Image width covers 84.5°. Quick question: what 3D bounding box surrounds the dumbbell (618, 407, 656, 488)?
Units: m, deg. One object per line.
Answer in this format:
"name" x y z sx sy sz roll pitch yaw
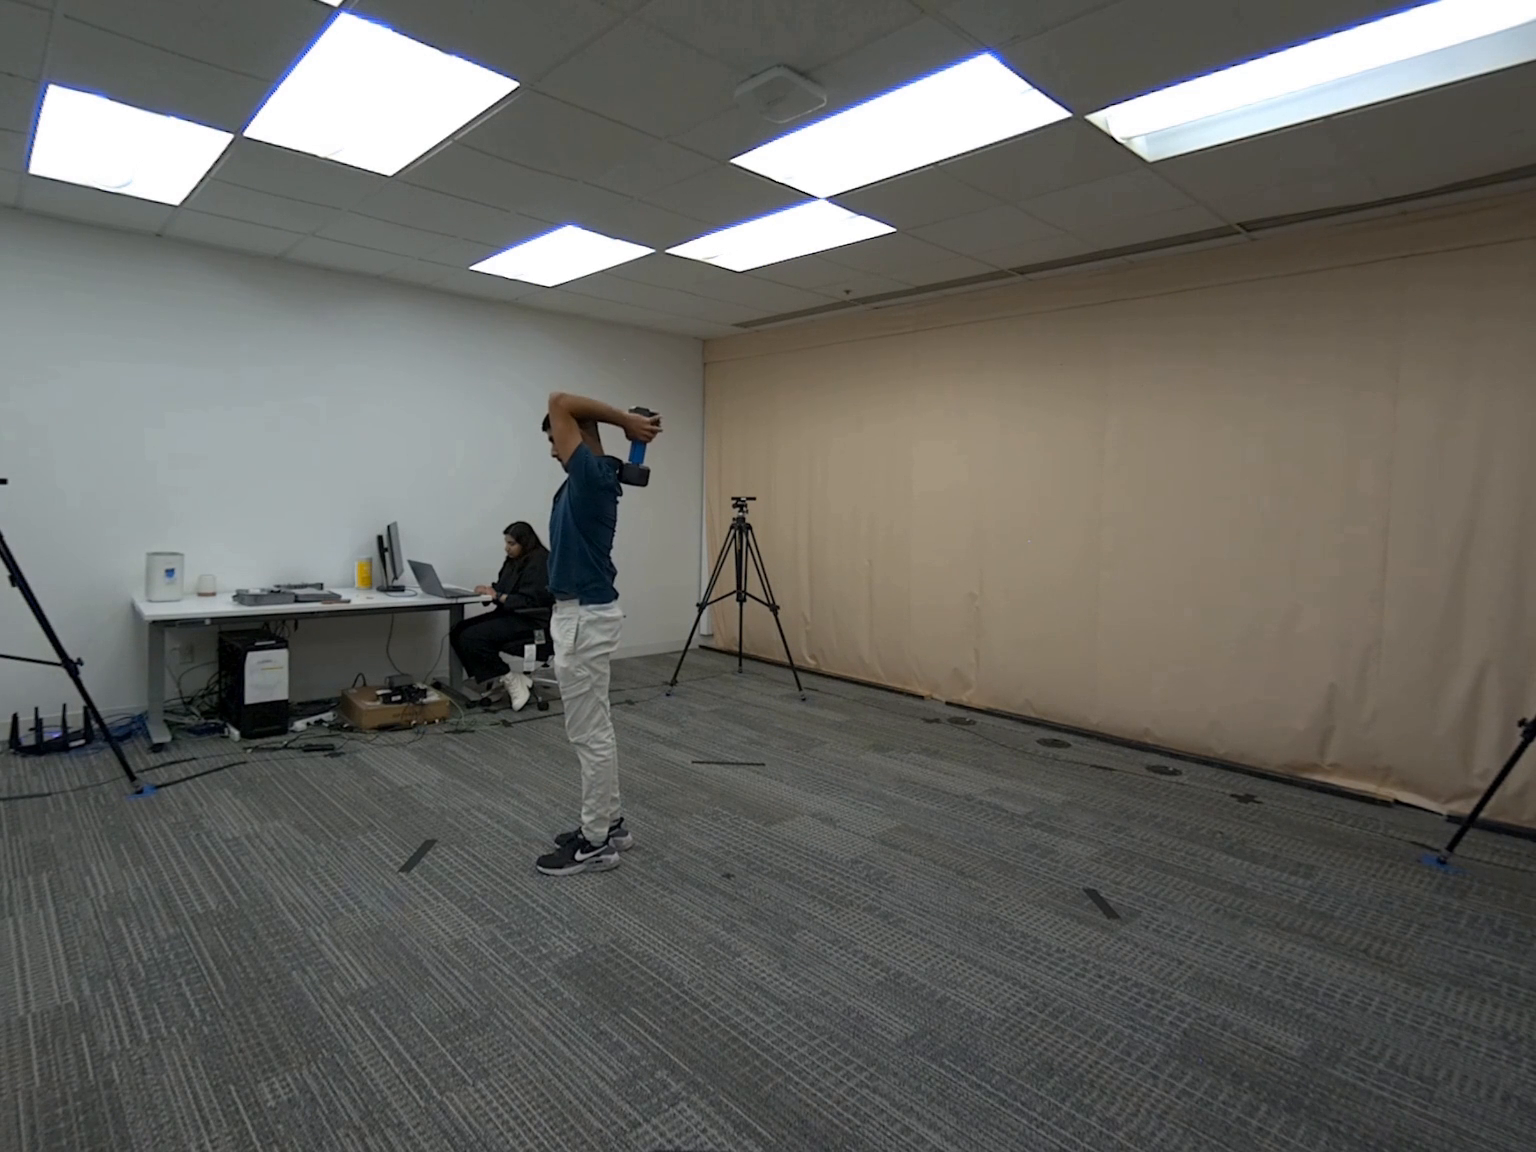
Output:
"dumbbell" -0.513 -0.495 3.172 0.123 0.293 0.108 6 3 3
